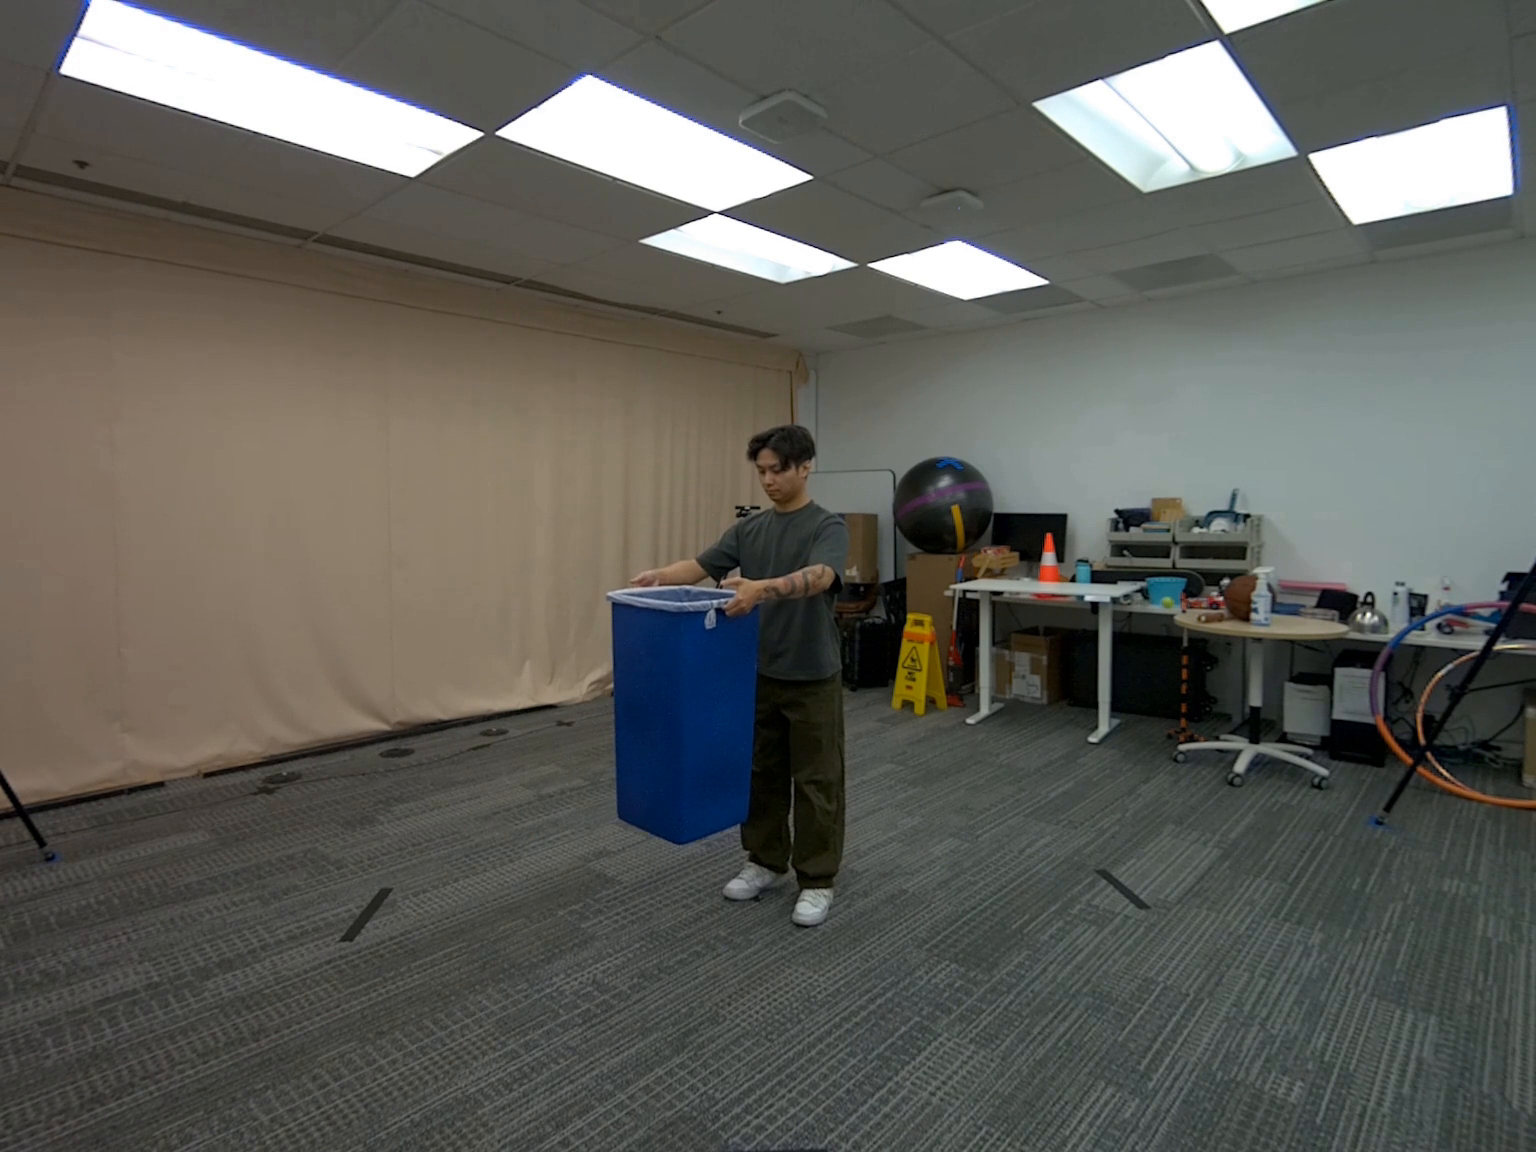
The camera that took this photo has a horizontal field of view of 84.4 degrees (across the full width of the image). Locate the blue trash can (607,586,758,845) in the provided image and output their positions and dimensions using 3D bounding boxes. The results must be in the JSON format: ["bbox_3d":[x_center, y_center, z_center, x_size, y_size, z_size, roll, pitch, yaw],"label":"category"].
[{"bbox_3d":[-0.260,0.418,2.620,0.391,0.712,0.362,4,4,42],"label":"blue trash can"}]
